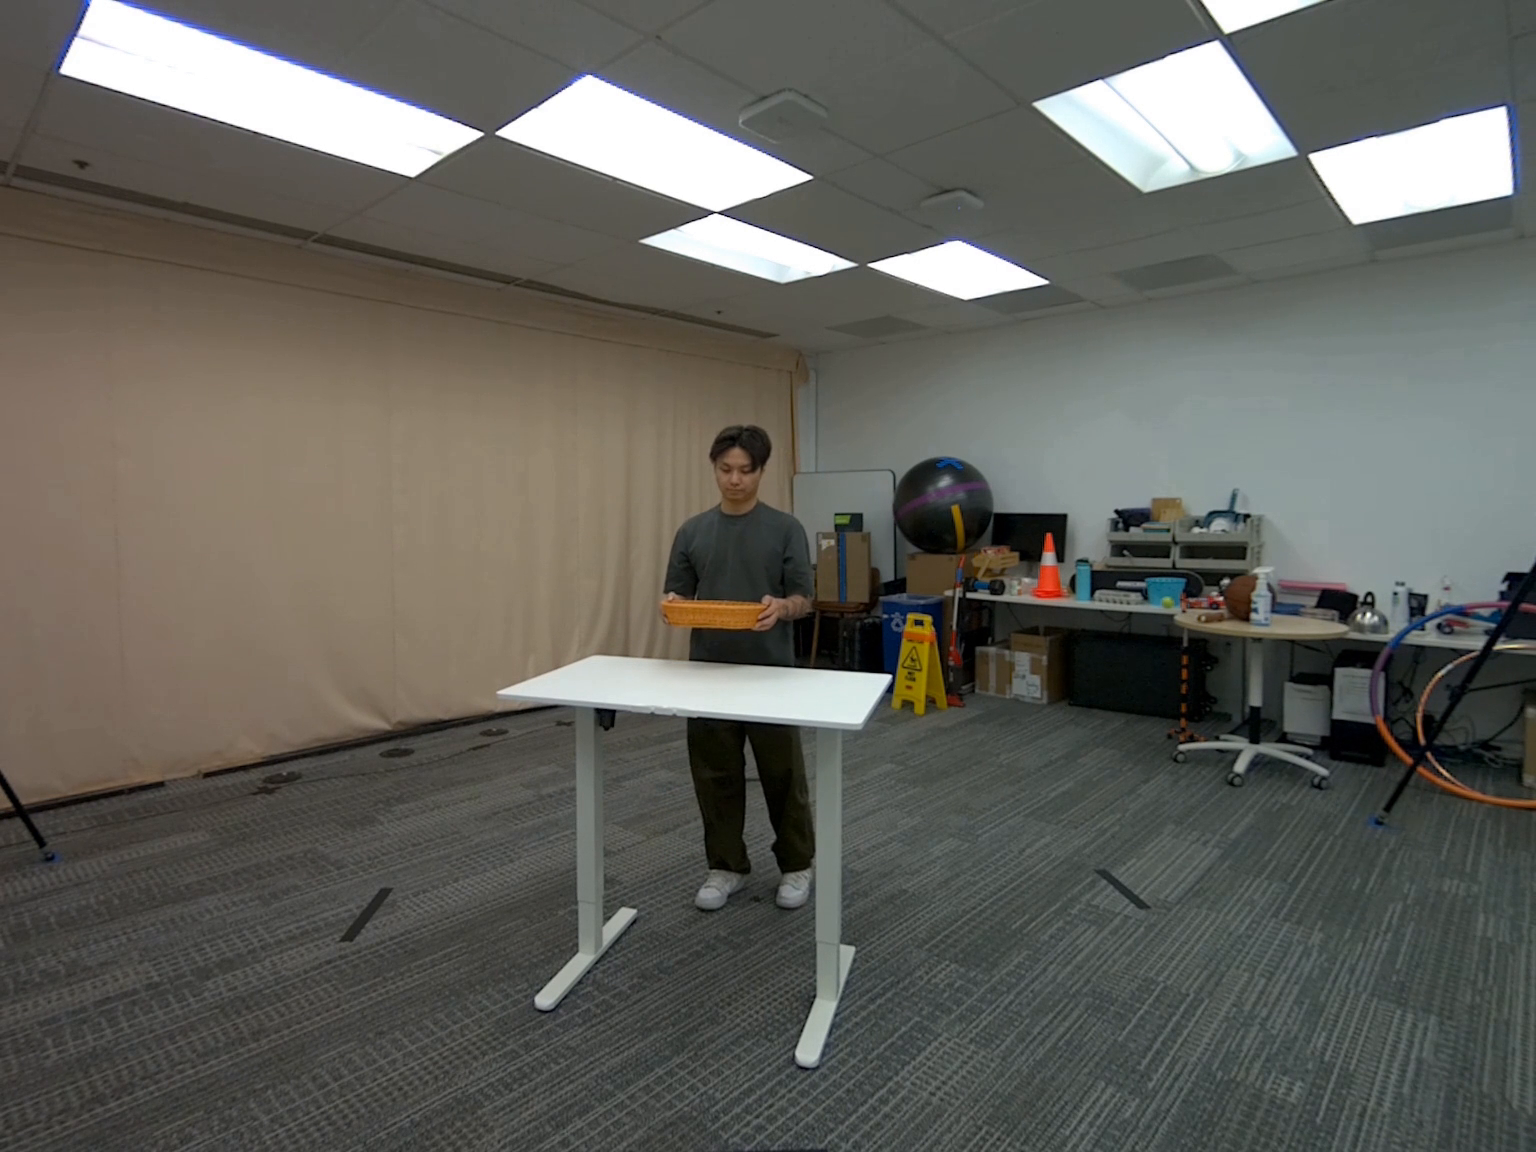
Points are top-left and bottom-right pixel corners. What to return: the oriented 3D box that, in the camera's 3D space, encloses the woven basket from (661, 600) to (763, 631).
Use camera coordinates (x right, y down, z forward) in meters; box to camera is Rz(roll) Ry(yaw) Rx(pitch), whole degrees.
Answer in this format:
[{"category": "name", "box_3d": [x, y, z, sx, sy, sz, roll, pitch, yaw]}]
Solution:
[{"category": "woven basket", "box_3d": [-0.156, 0.123, 2.677, 0.355, 0.073, 0.249, 0, 2, 12]}]
